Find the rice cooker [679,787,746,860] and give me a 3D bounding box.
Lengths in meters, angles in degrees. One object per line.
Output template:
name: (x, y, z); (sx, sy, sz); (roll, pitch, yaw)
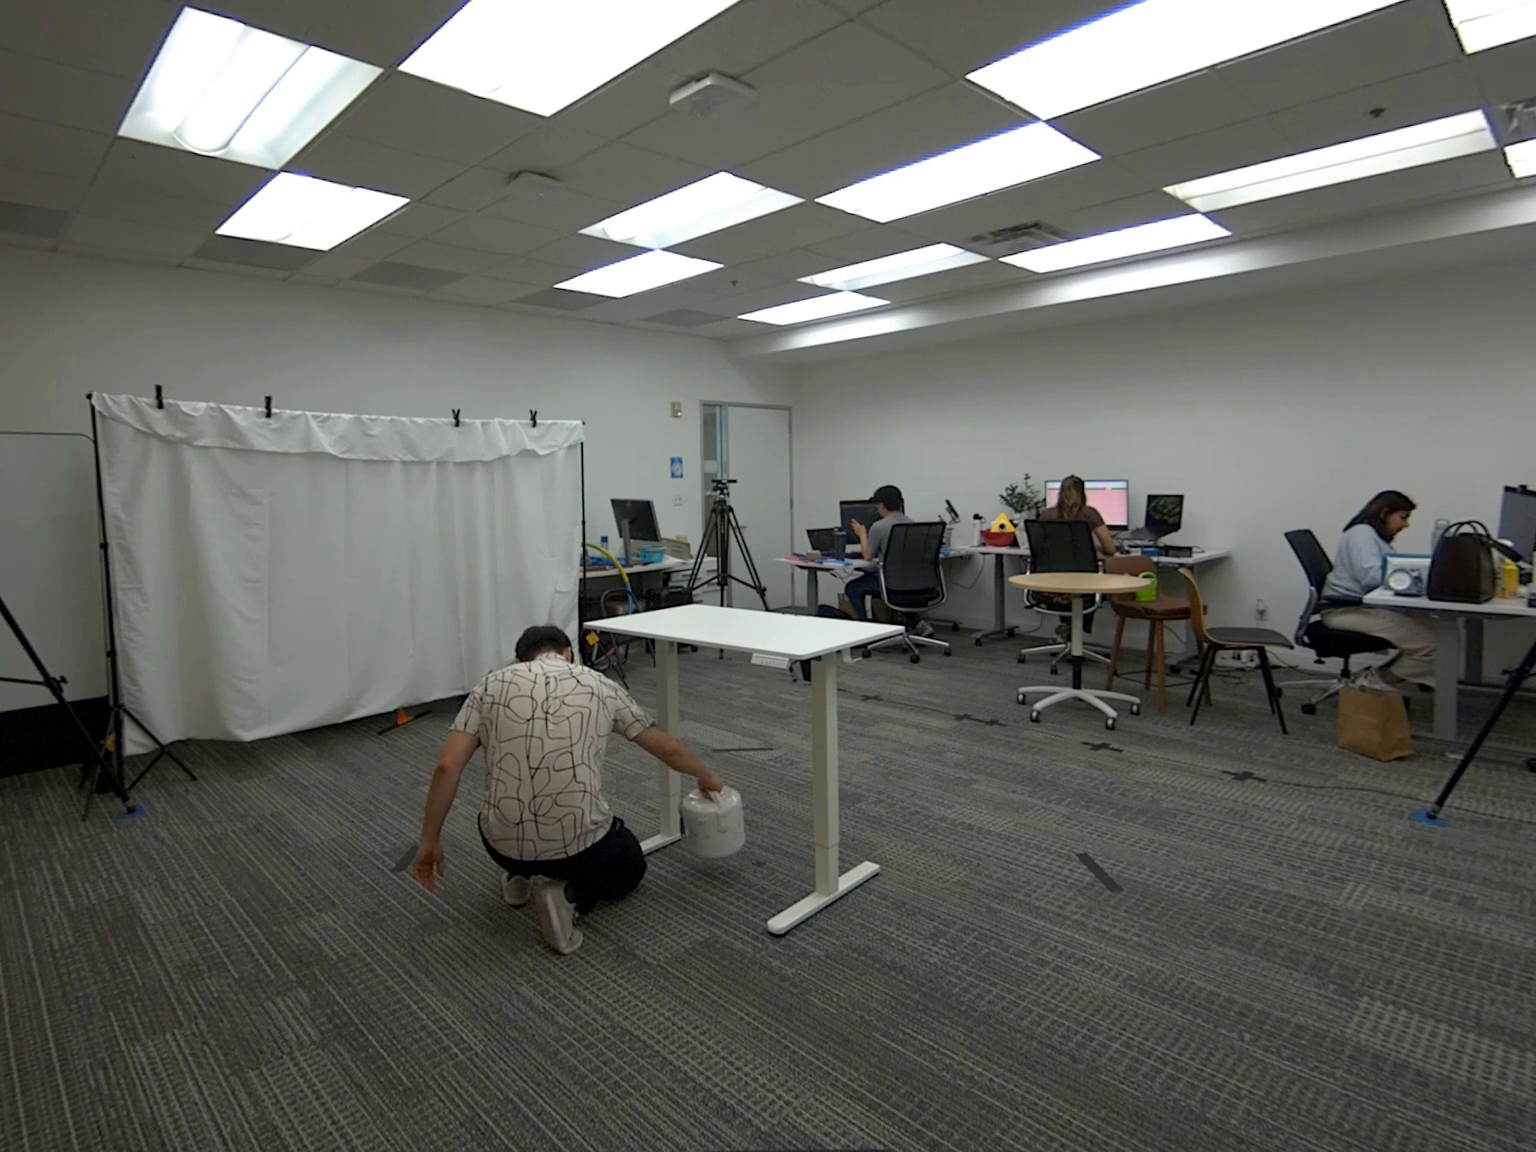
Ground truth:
rice cooker: (-0.192, 0.858, 3.026); (0.214, 0.231, 0.226); (-8, 9, -22)
